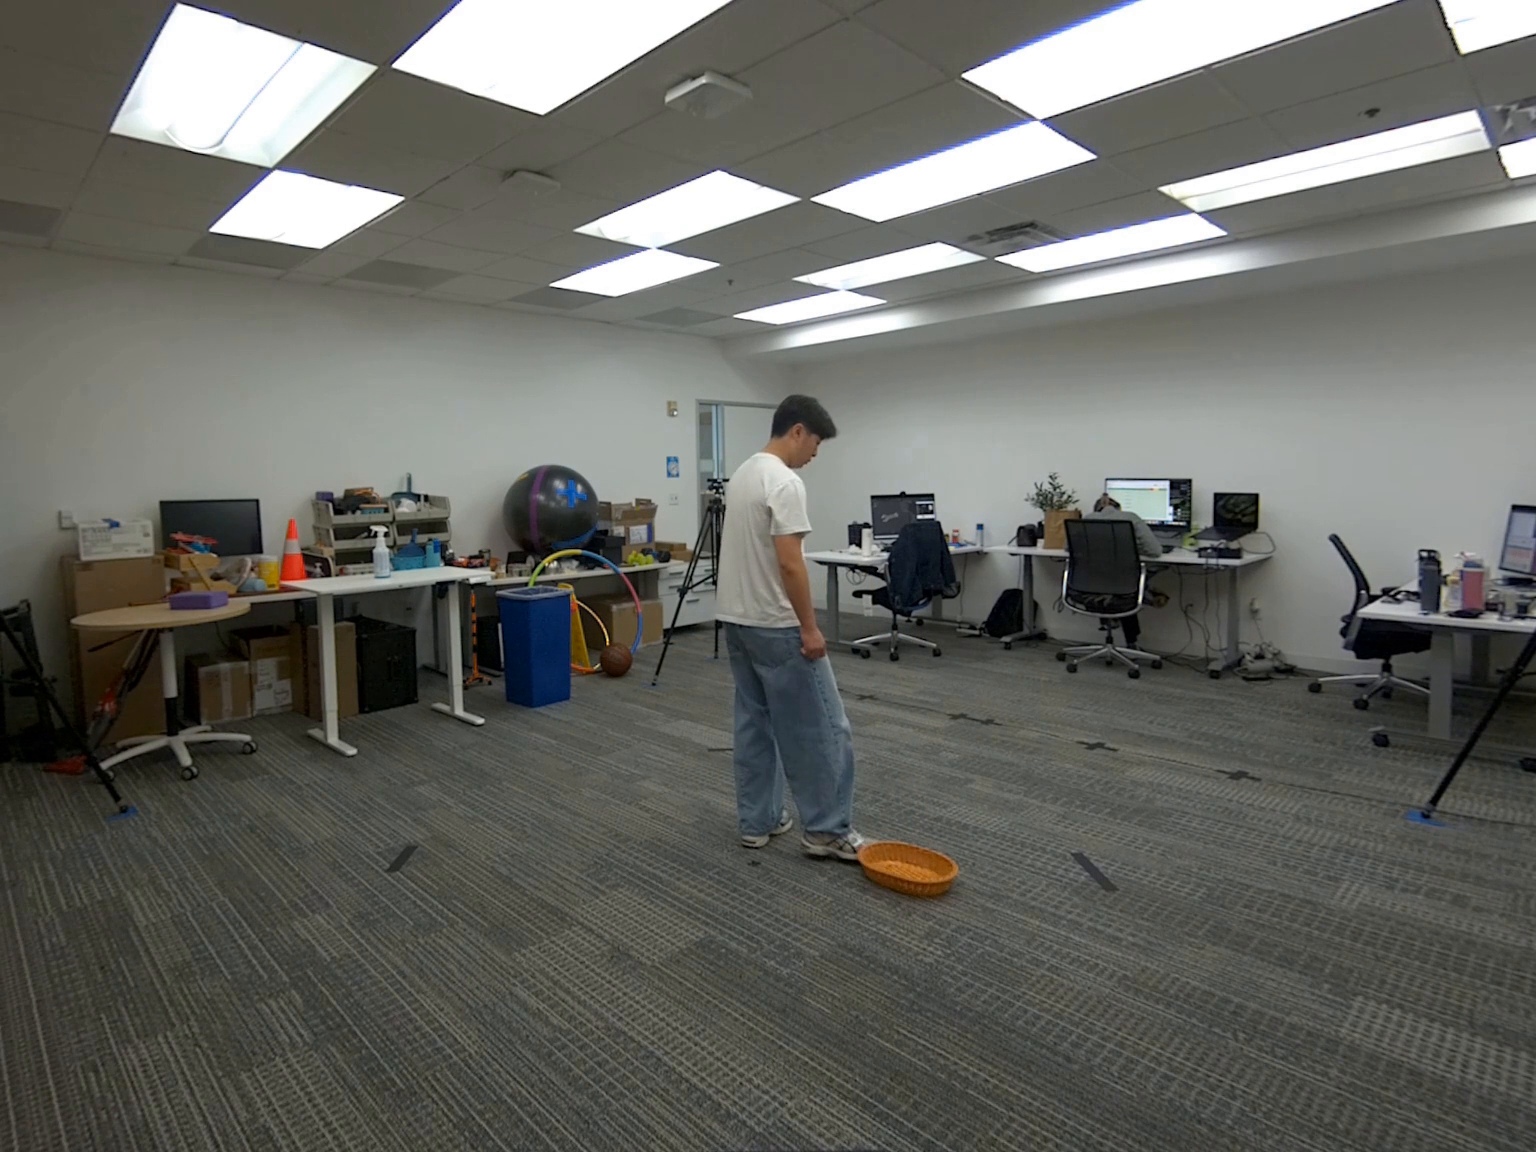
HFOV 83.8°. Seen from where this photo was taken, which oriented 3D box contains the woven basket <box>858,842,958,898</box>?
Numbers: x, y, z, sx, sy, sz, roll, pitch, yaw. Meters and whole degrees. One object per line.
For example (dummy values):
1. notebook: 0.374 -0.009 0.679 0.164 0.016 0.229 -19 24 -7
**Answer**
1. woven basket: 0.479 1.013 2.966 0.361 0.073 0.246 4 9 37
